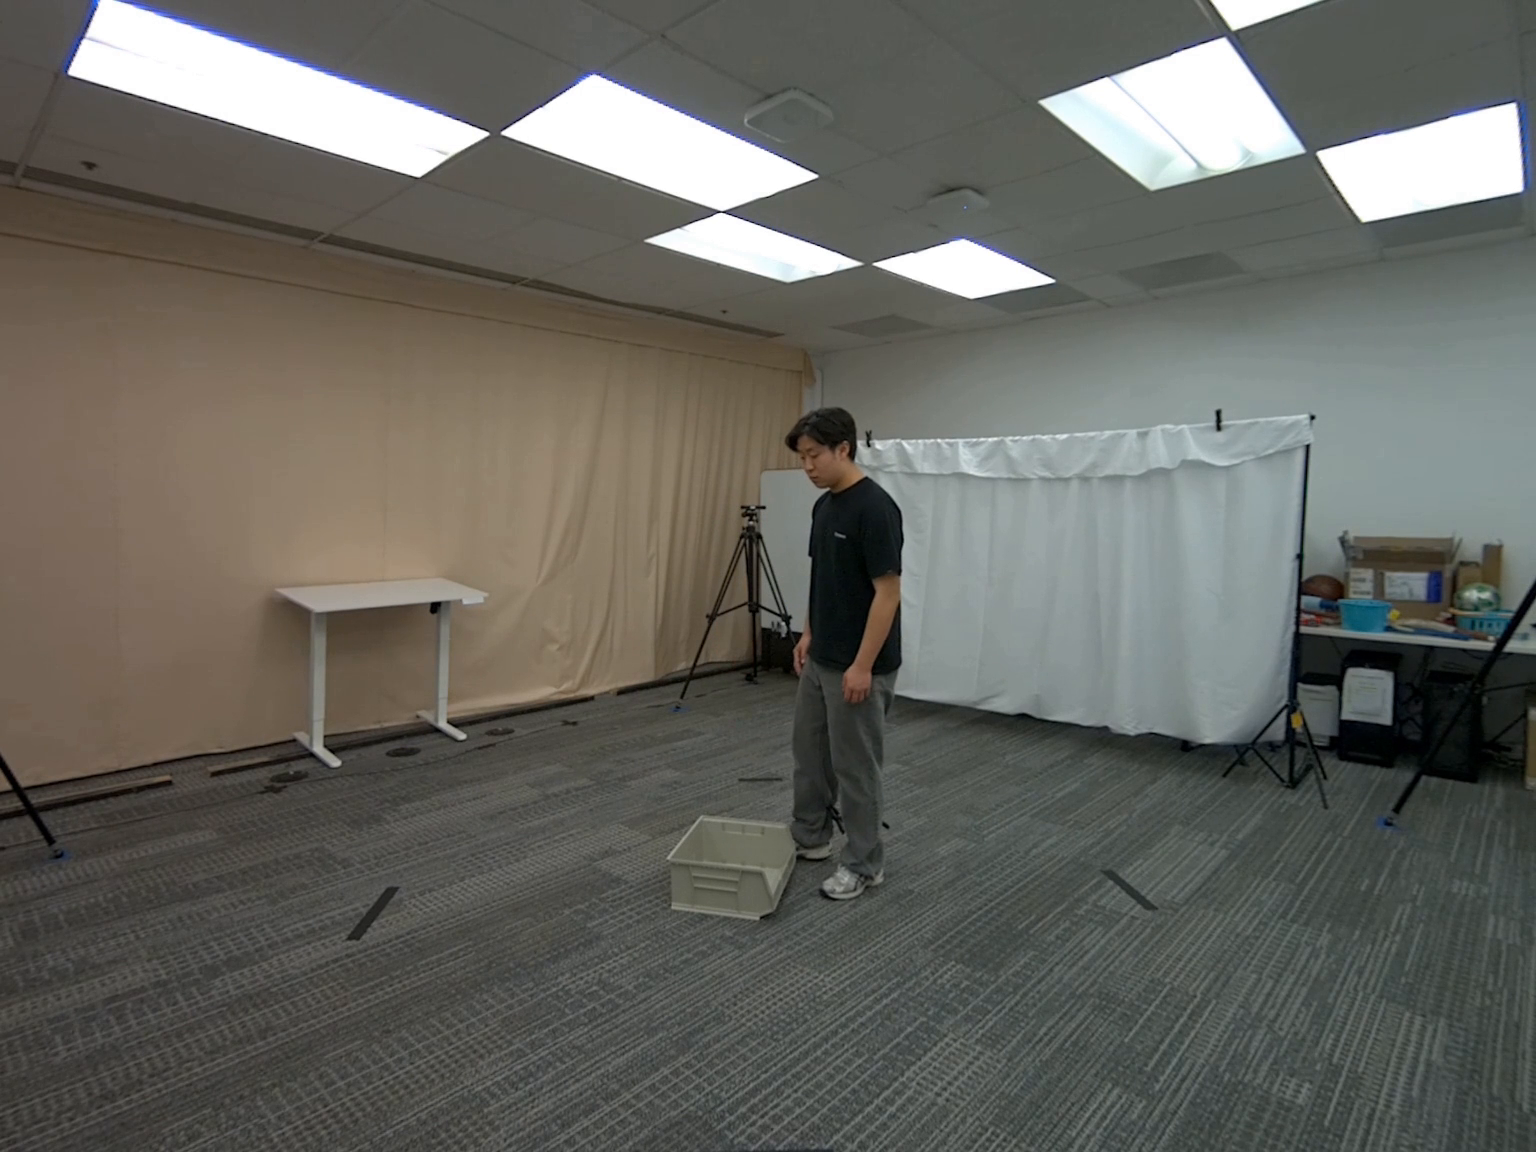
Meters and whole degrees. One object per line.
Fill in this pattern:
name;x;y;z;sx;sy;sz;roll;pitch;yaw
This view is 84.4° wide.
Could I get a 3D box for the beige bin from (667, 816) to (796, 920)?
beige bin;-0.117;1.049;3.056;0.383;0.188;0.416;0;4;14
